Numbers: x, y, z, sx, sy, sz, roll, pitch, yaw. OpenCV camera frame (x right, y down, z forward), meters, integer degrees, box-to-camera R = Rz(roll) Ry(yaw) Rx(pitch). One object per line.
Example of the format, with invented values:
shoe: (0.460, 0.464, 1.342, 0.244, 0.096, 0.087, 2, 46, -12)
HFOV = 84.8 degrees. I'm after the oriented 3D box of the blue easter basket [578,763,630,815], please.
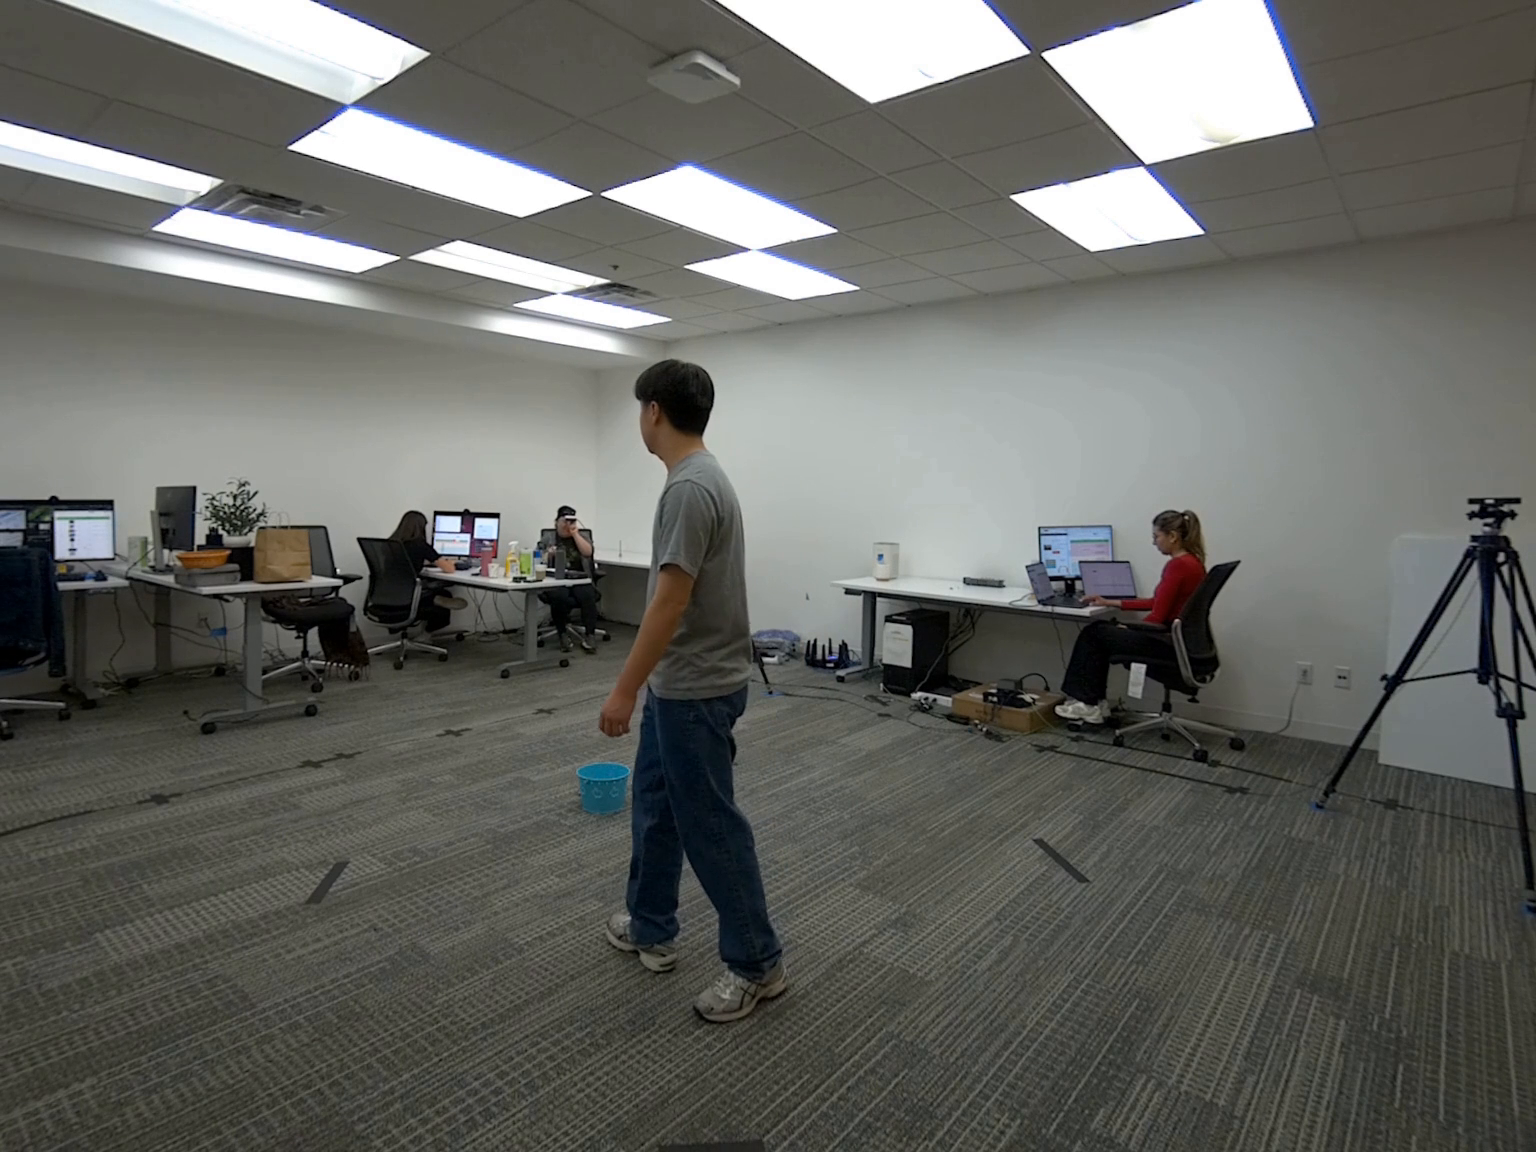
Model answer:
blue easter basket: (-0.733, 0.919, 3.709, 0.243, 0.155, 0.245, 0, 5, -2)
